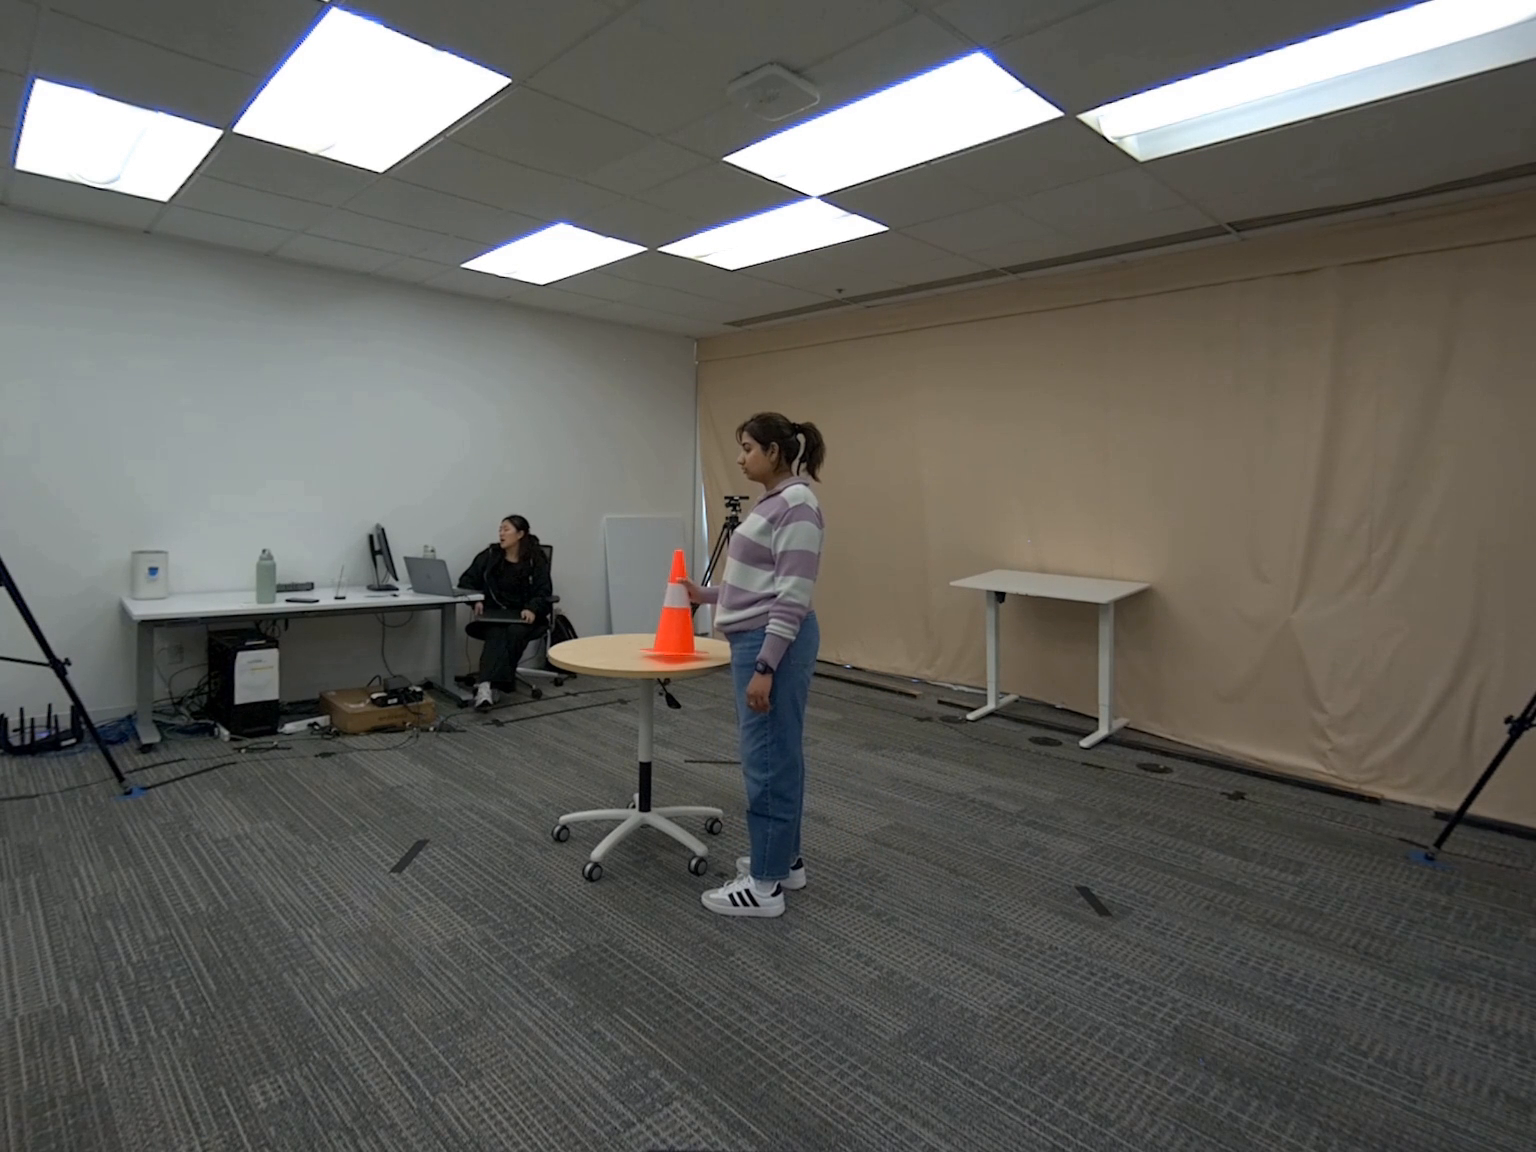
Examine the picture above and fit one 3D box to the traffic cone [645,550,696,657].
[{"bbox_3d":[-0.350,0.097,3.166,0.210,0.383,0.198,2,1,43],"label":"traffic cone"}]
